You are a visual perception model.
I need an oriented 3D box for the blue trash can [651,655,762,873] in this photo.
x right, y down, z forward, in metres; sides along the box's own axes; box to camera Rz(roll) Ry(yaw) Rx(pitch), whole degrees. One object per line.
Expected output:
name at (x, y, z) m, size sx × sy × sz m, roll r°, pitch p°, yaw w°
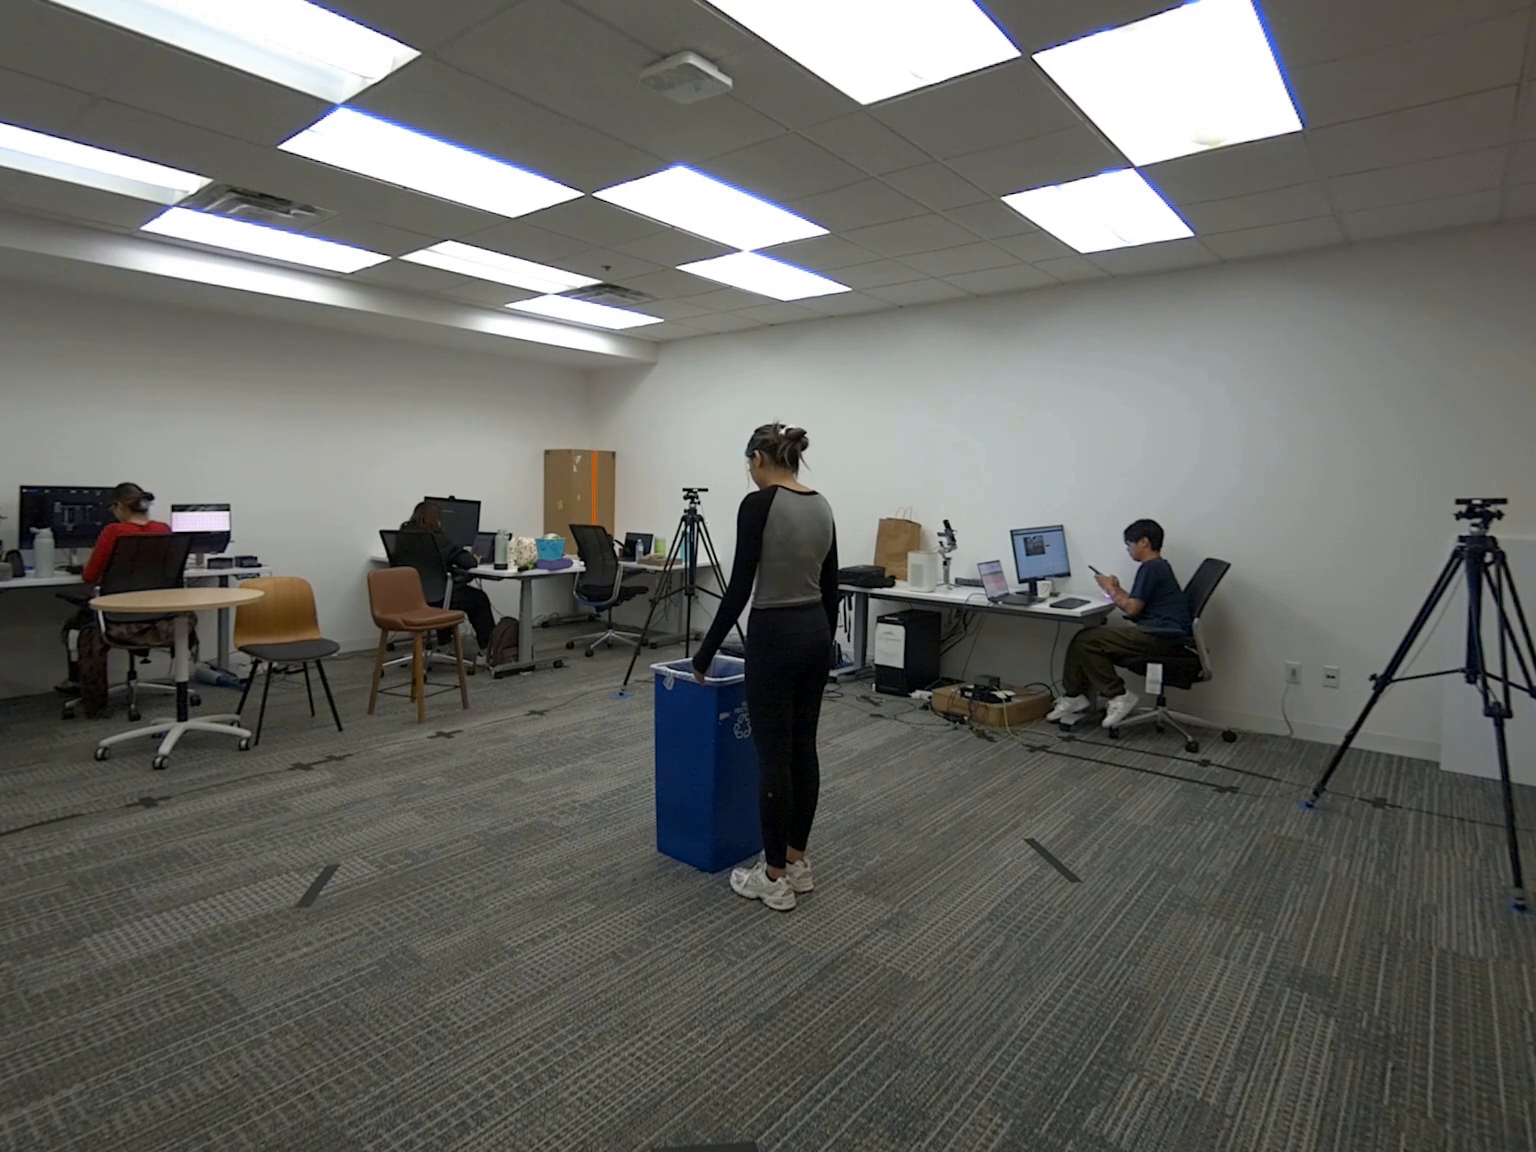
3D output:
blue trash can at (-0.224, 0.697, 3.270) m, size 0.391 × 0.711 × 0.363 m, roll 4°, pitch 4°, yaw 40°
